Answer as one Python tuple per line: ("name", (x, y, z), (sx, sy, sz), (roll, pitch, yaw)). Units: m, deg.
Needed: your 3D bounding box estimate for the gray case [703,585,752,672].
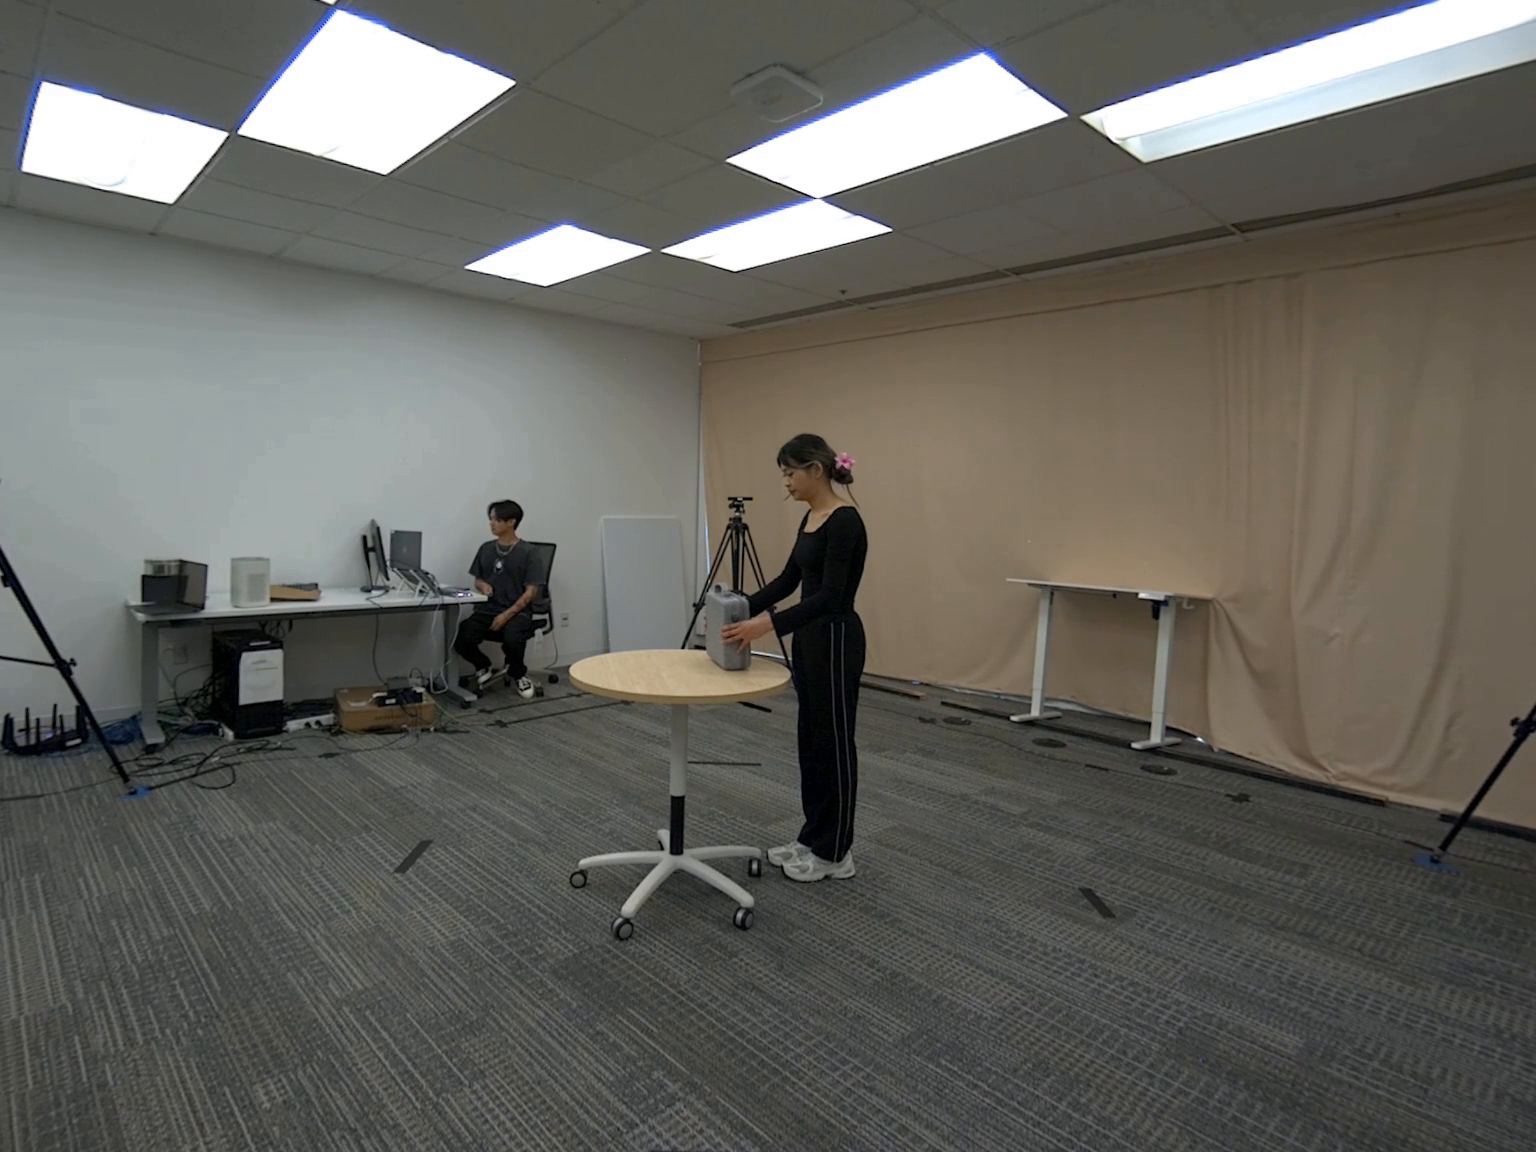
("gray case", (-0.151, 0.189, 3.021), (0.103, 0.259, 0.261), (-4, 8, -18))
